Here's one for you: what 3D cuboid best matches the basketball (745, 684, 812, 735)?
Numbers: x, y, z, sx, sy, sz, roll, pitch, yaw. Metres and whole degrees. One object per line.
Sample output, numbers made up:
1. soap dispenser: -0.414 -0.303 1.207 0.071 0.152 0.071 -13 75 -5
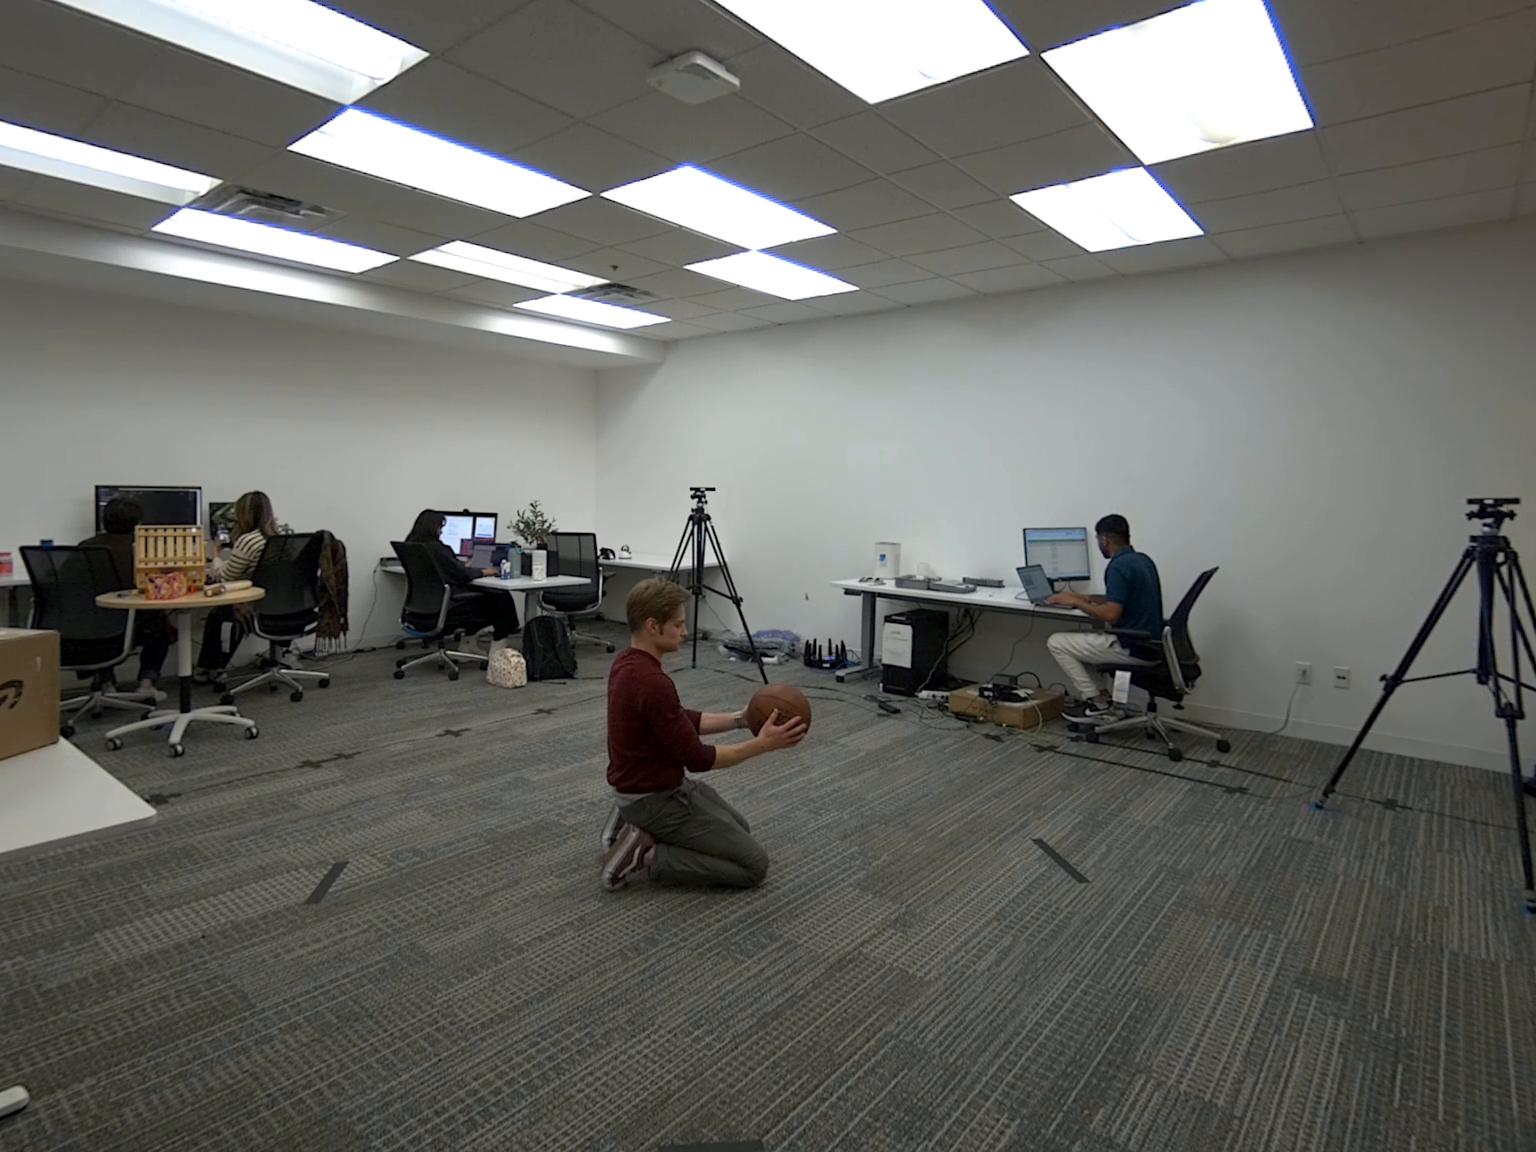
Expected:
1. basketball: 0.020 0.522 3.159 0.235 0.235 0.237 1 4 -2
